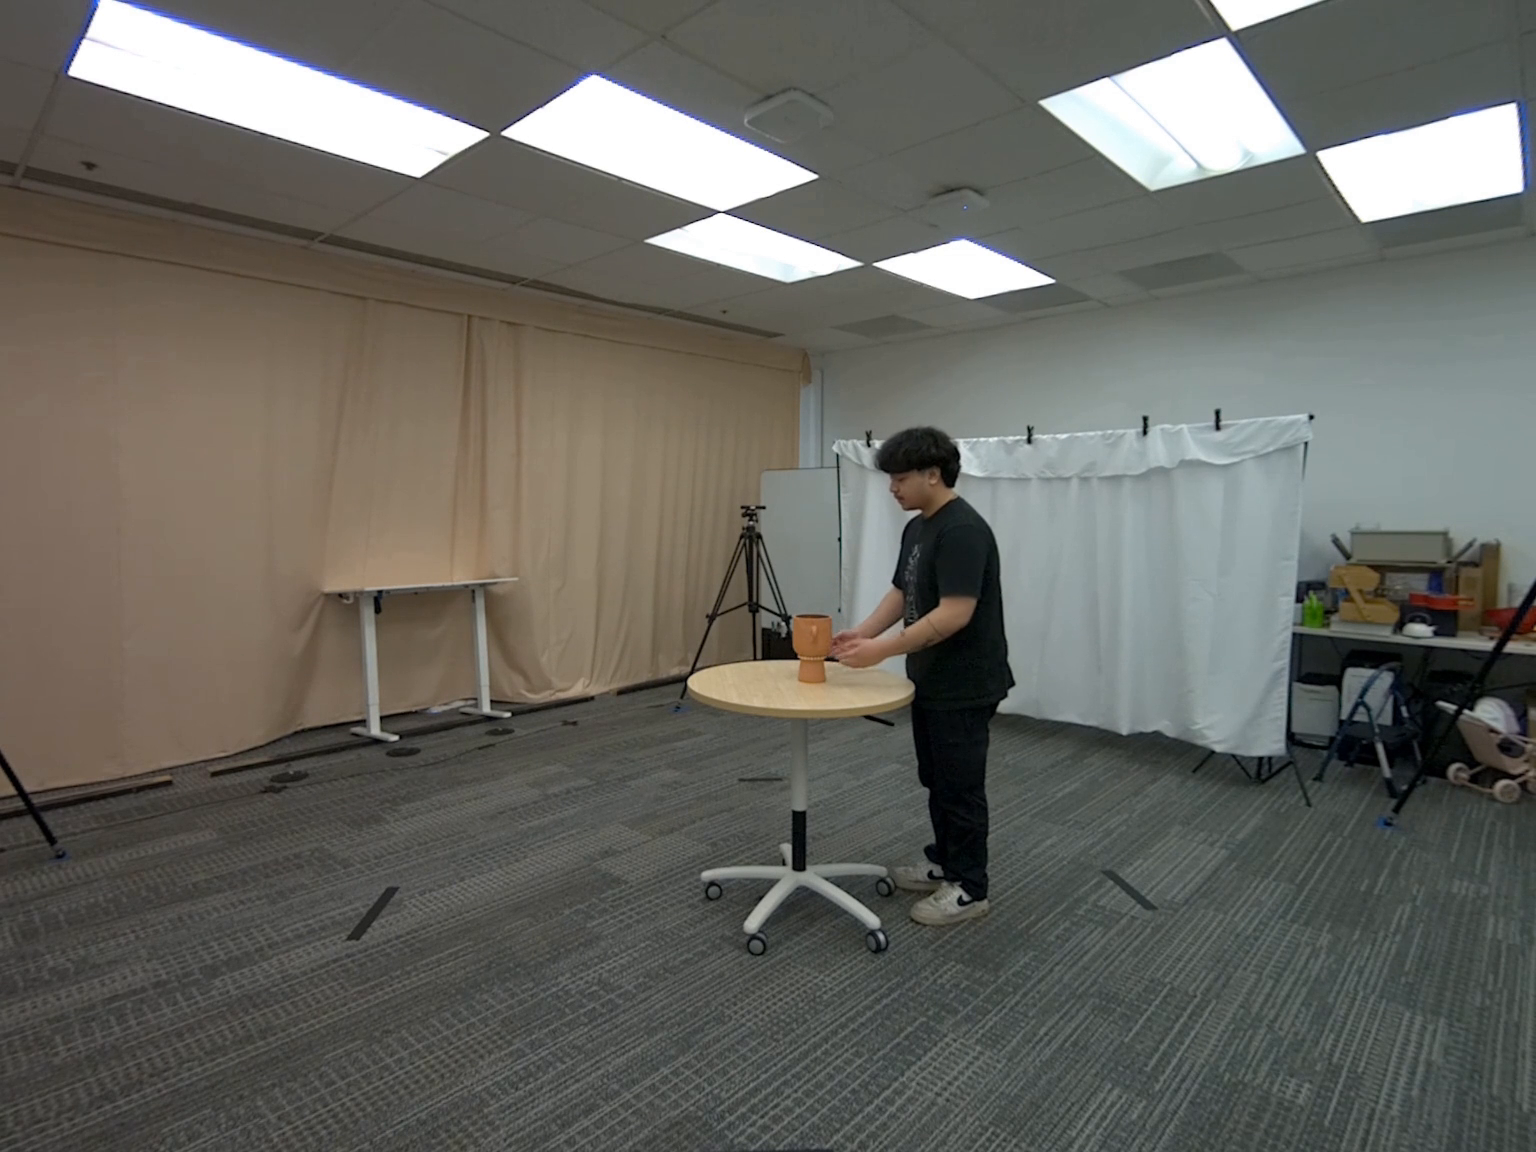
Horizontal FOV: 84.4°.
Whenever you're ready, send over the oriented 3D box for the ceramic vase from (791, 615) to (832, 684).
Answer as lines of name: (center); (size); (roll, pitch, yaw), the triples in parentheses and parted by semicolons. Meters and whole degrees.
ceramic vase: (0.163, 0.251, 2.880); (0.139, 0.219, 0.154); (3, 5, 37)
